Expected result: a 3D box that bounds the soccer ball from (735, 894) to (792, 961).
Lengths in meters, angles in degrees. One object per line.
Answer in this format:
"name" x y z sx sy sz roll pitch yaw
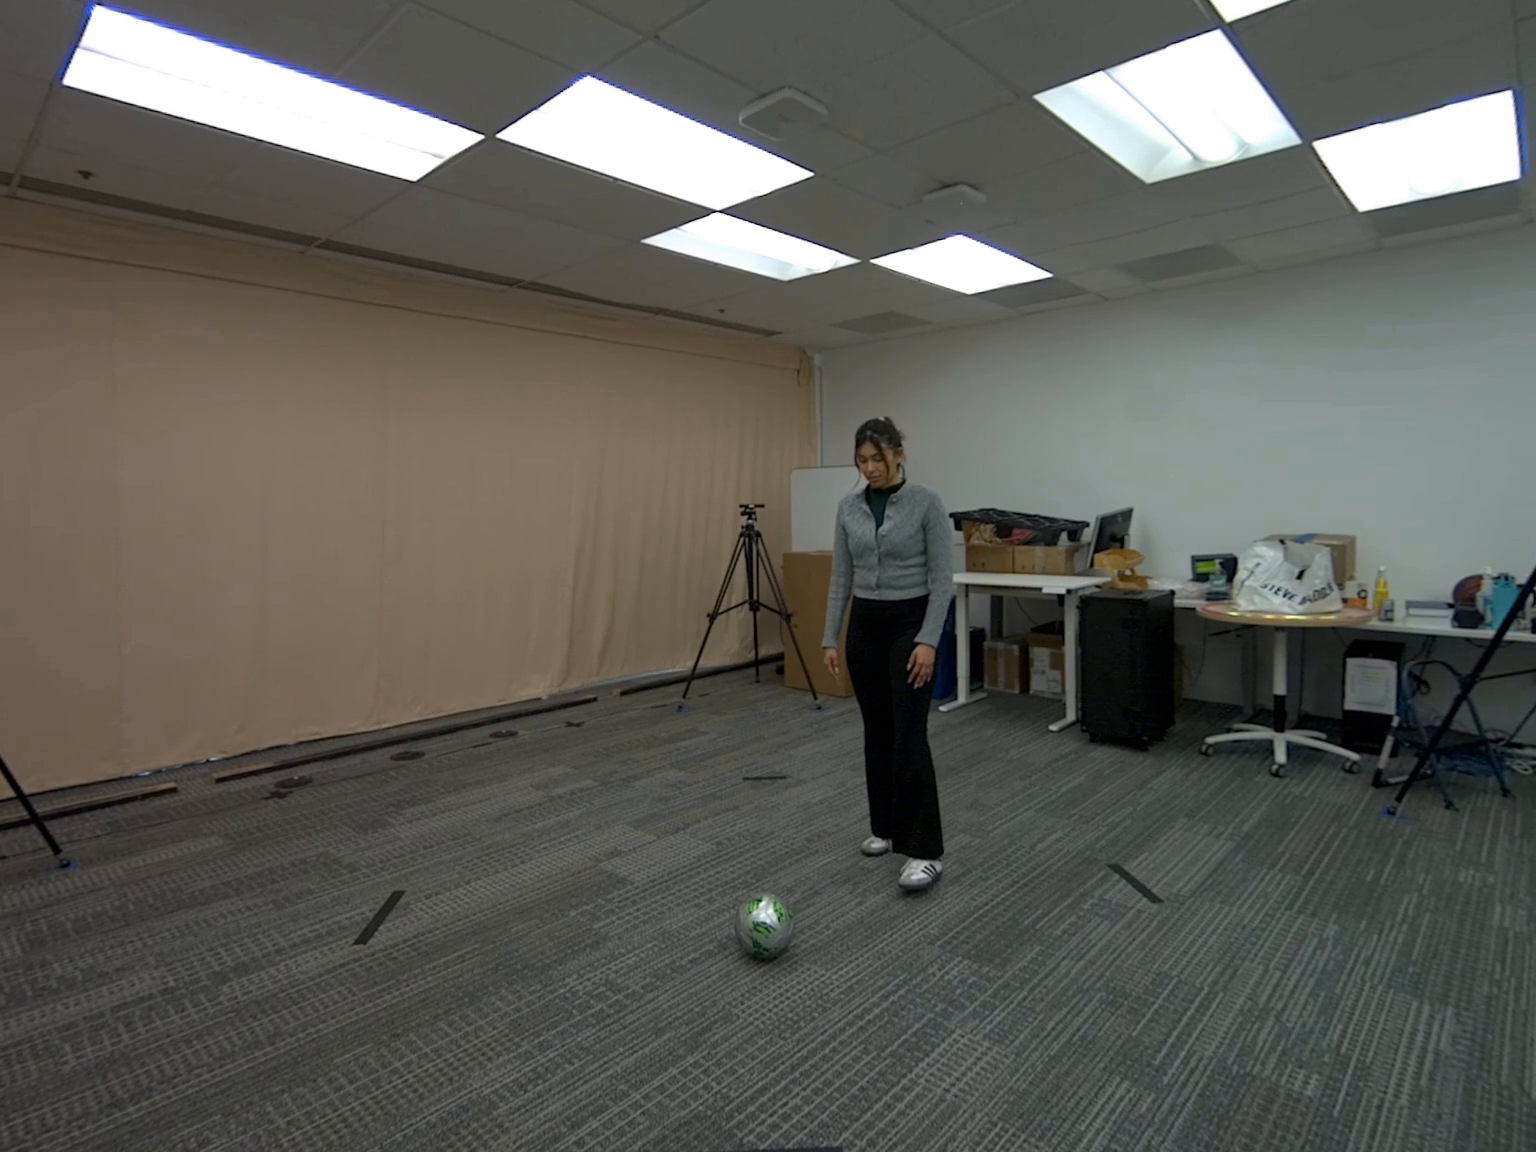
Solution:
"soccer ball" -0.008 1.080 2.600 0.187 0.187 0.188 -1 4 -2
